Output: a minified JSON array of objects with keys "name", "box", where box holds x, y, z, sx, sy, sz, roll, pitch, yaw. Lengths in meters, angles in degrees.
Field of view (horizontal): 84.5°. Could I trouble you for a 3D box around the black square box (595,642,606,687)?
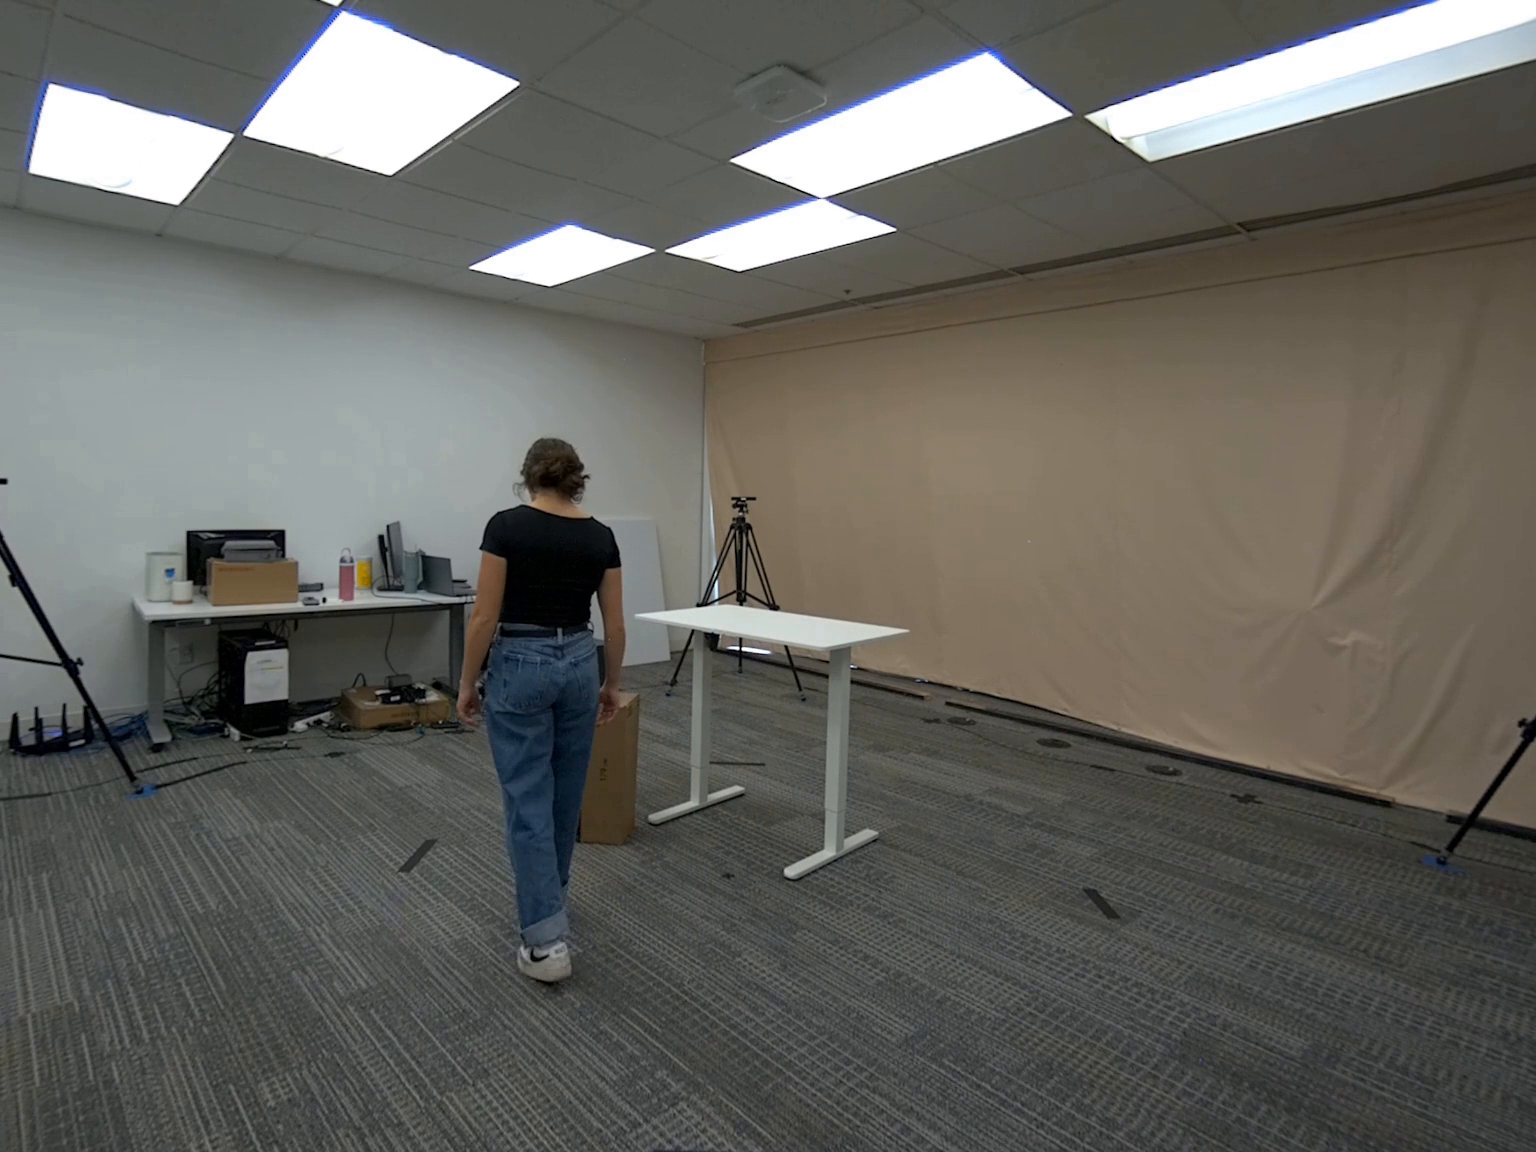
[{"name":"black square box","box":[-0.732,0.383,3.451,0.152,0.227,0.222,-1,5,-45]}]
